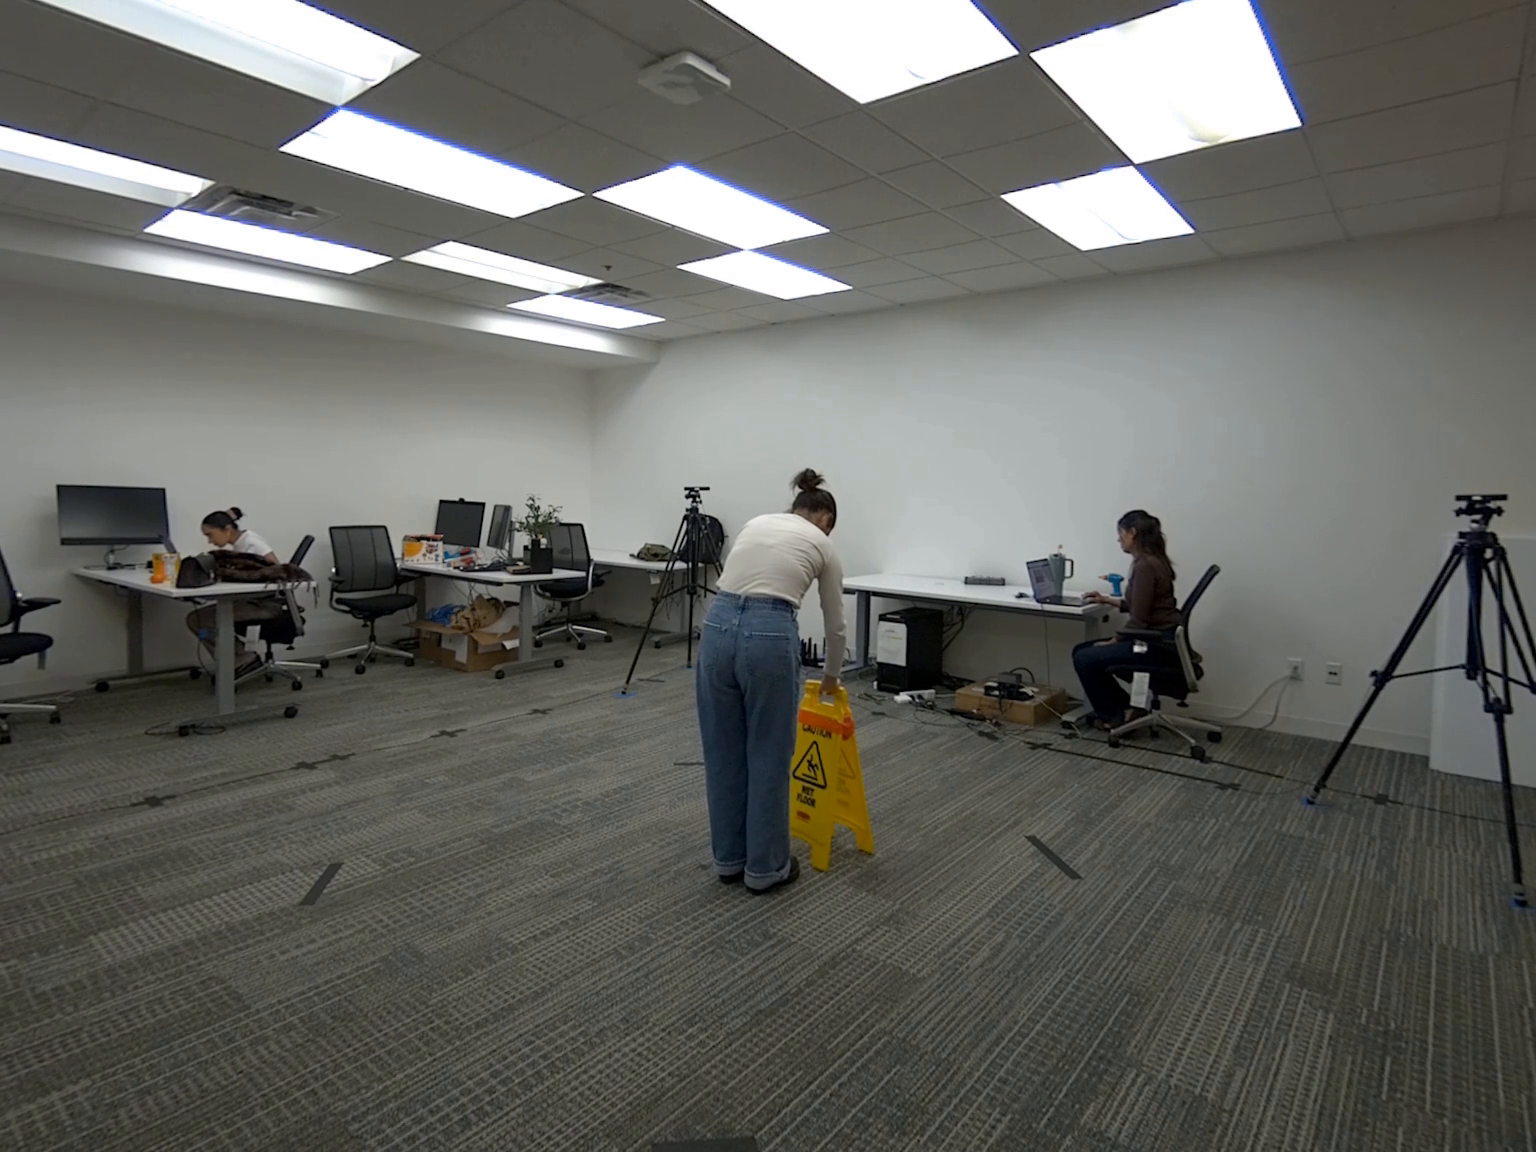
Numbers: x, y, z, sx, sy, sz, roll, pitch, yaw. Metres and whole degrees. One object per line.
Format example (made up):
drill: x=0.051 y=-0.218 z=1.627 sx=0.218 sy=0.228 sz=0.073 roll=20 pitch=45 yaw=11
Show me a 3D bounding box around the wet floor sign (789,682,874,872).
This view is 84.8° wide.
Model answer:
wet floor sign: x=0.209 y=0.729 z=3.267 sx=0.281 sy=0.645 sz=0.292 roll=0 pitch=3 yaw=-42
